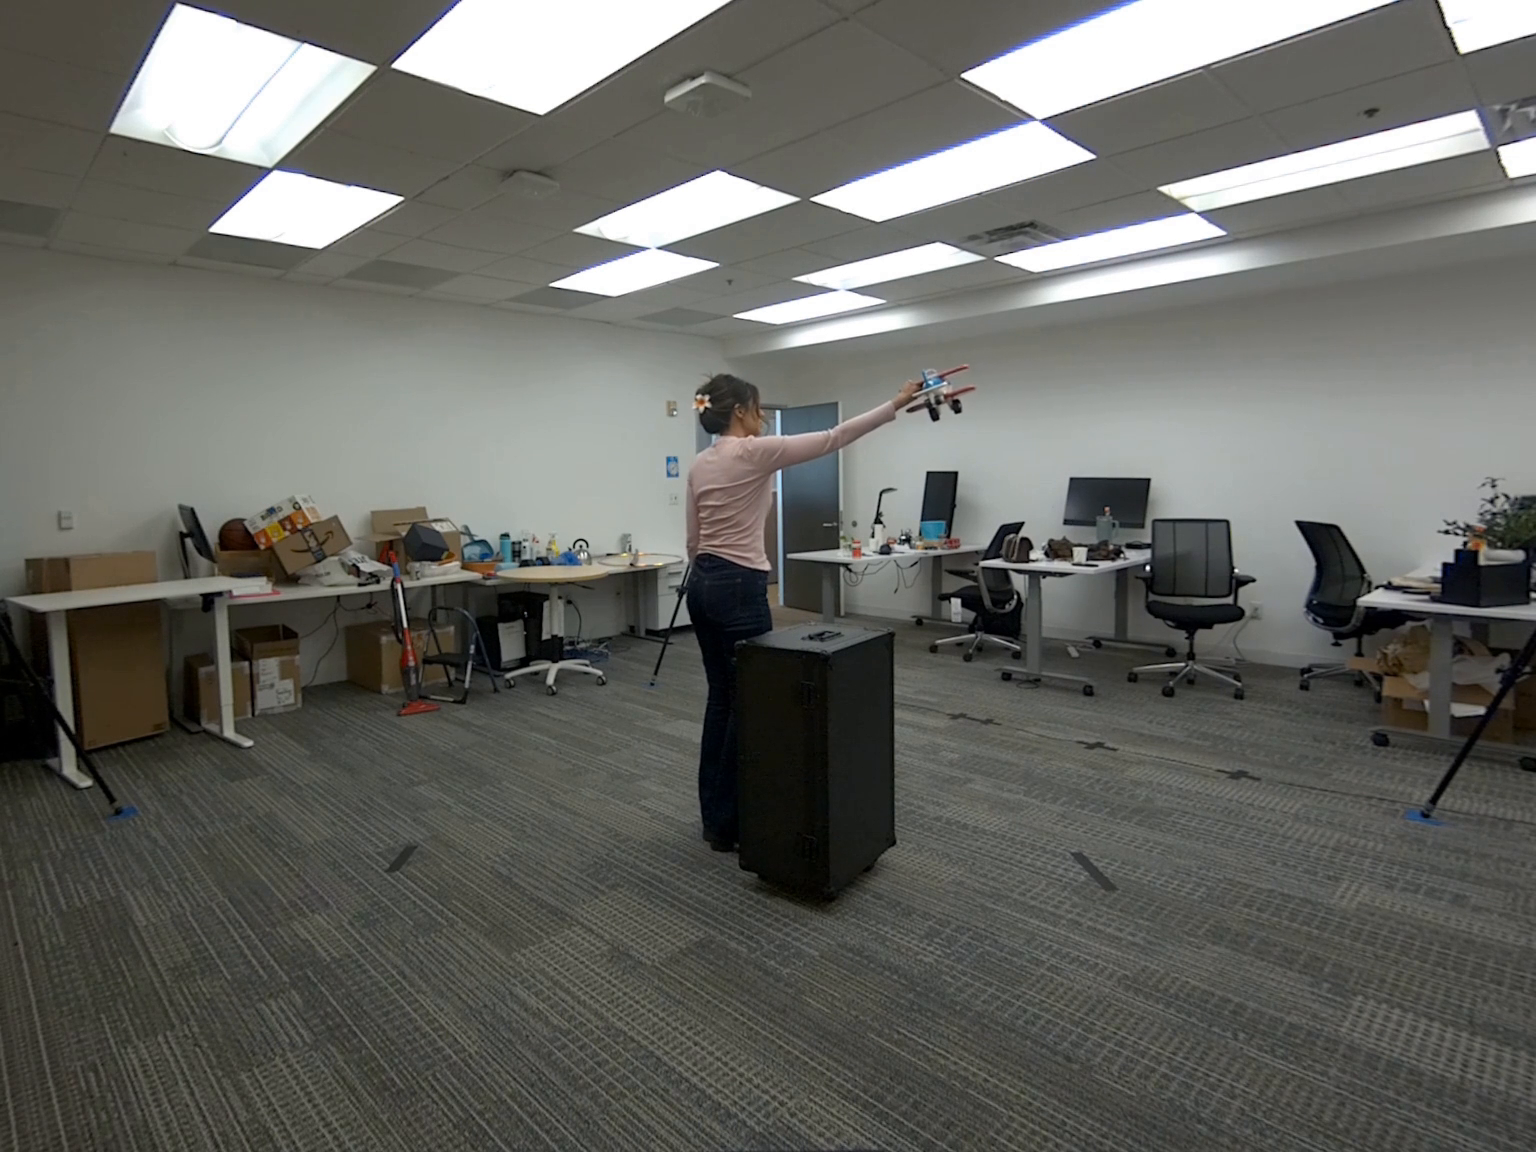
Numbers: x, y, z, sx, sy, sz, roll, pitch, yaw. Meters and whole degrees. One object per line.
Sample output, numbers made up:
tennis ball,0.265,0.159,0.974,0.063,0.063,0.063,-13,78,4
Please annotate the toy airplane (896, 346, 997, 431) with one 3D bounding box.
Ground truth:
toy airplane,0.622,-0.659,3.031,0.250,0.158,0.256,-13,-11,-4
